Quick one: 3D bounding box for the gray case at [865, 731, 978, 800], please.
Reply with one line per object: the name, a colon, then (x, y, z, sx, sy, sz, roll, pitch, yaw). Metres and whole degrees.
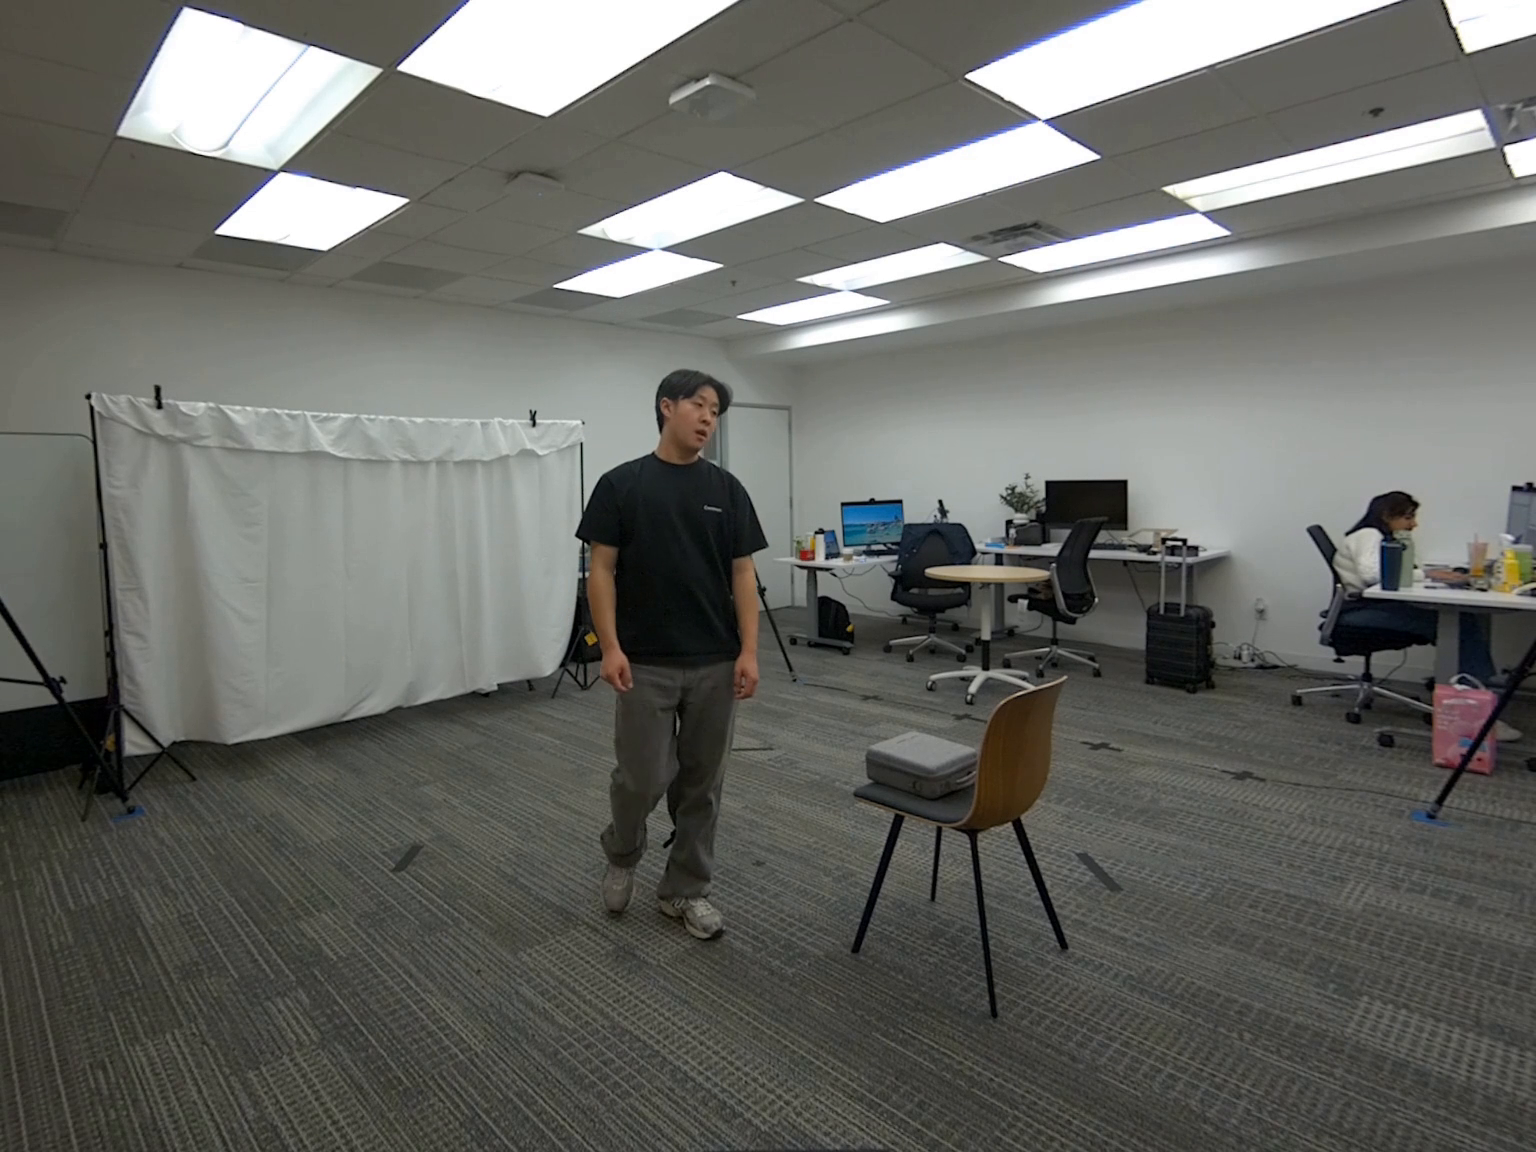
gray case: (0.471, 0.562, 2.554, 0.256, 0.102, 0.296, -6, 9, -43)
